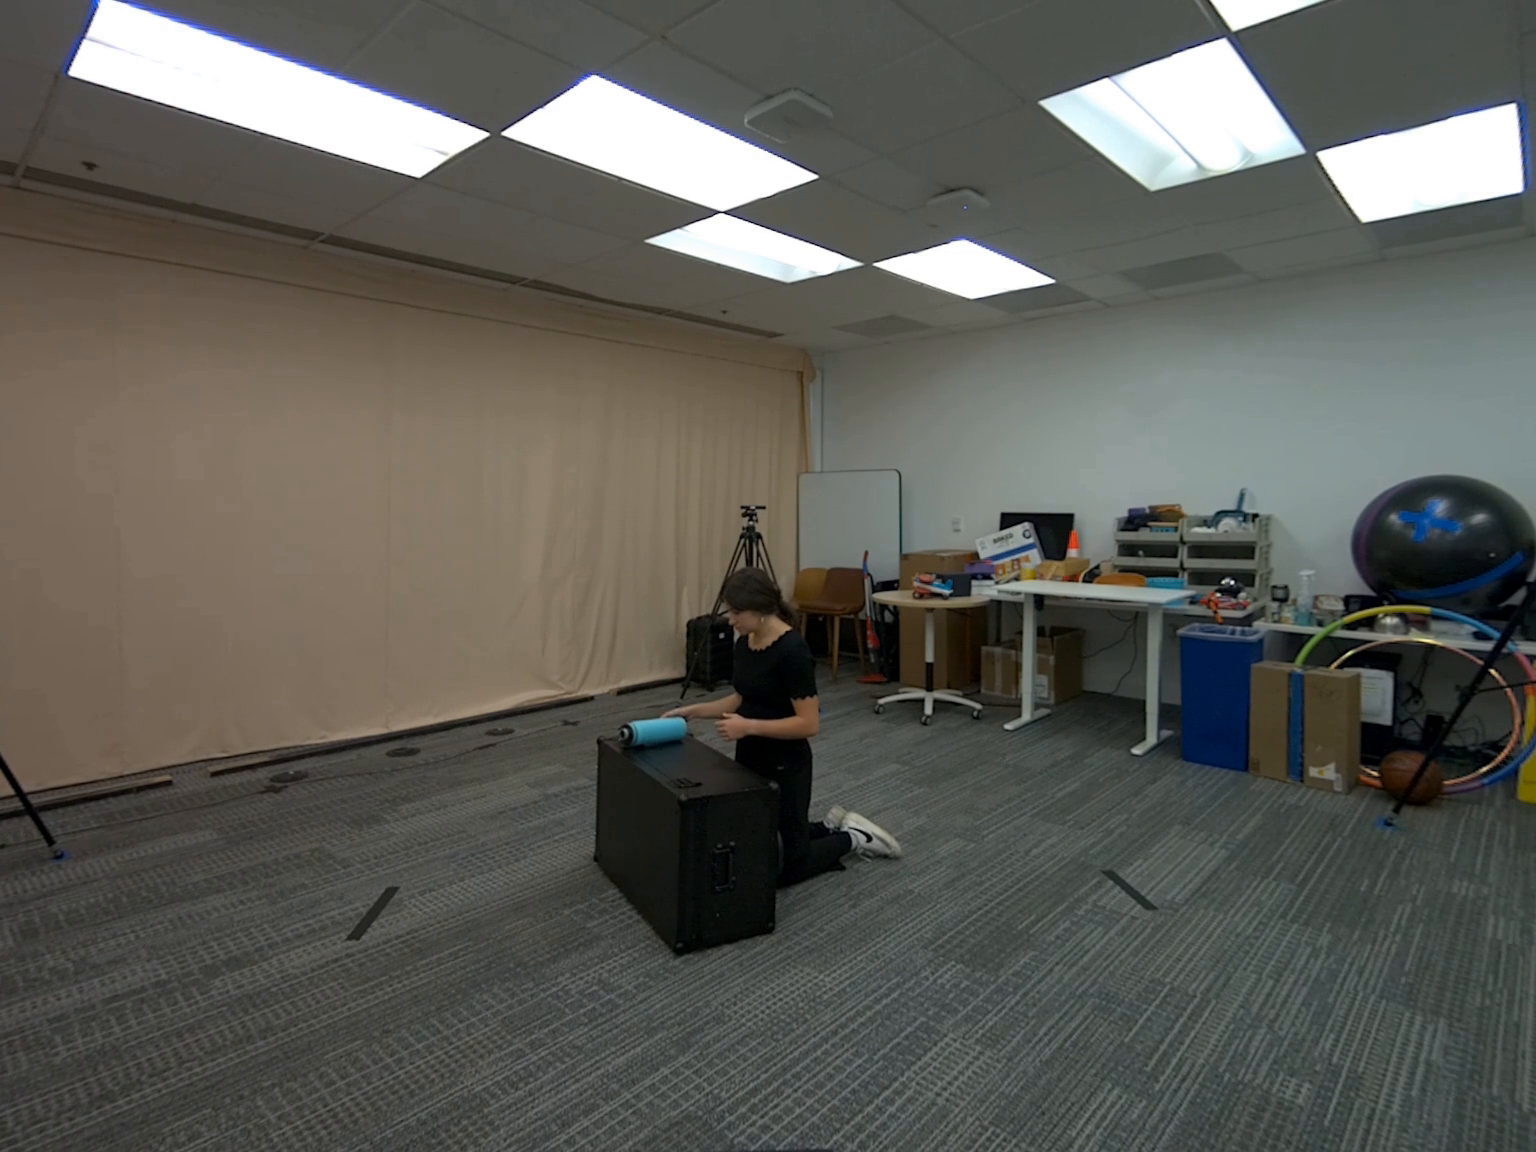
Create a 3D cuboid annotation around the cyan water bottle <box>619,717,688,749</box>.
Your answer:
[{"bbox_3d":[-0.439,0.595,3.187,0.274,0.092,0.095,2,1,-40],"label":"cyan water bottle"}]
